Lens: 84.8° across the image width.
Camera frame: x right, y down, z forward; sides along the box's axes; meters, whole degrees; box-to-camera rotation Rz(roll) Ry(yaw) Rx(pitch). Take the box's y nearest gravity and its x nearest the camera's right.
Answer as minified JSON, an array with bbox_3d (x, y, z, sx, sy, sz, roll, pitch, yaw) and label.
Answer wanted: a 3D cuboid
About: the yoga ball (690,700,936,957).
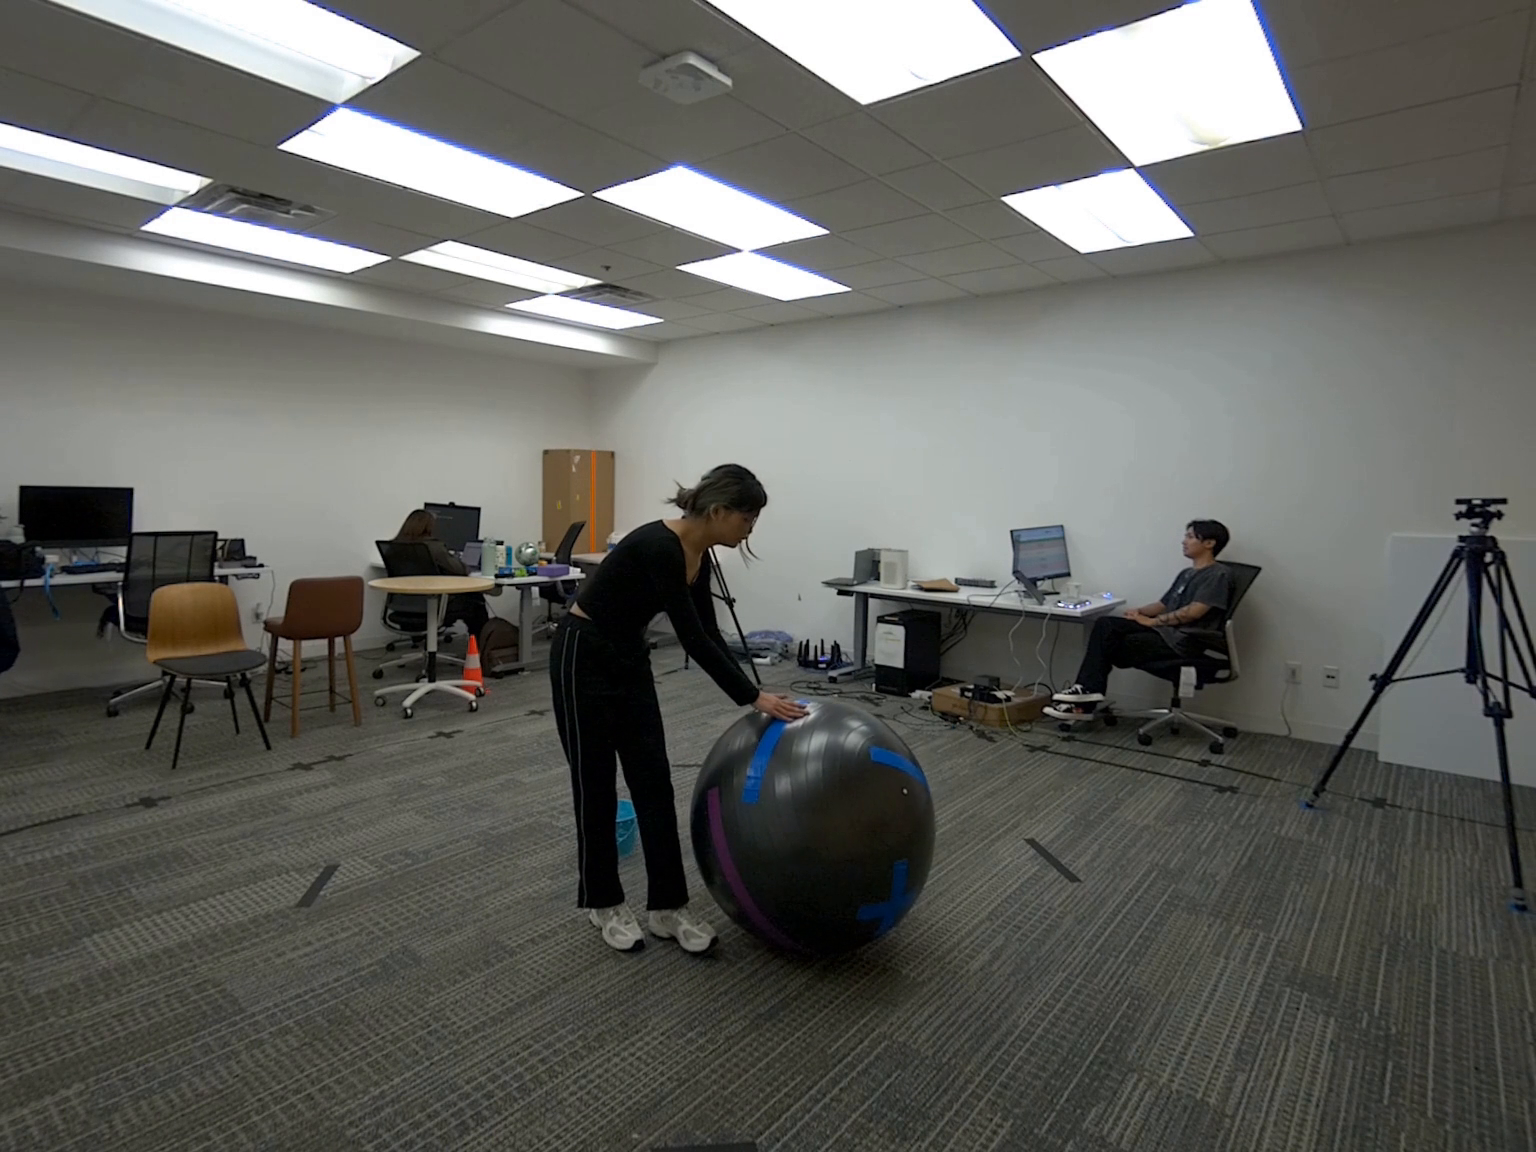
[{"bbox_3d":[0.131,0.756,2.645,0.757,0.755,0.762,1,4,-2],"label":"yoga ball"}]
